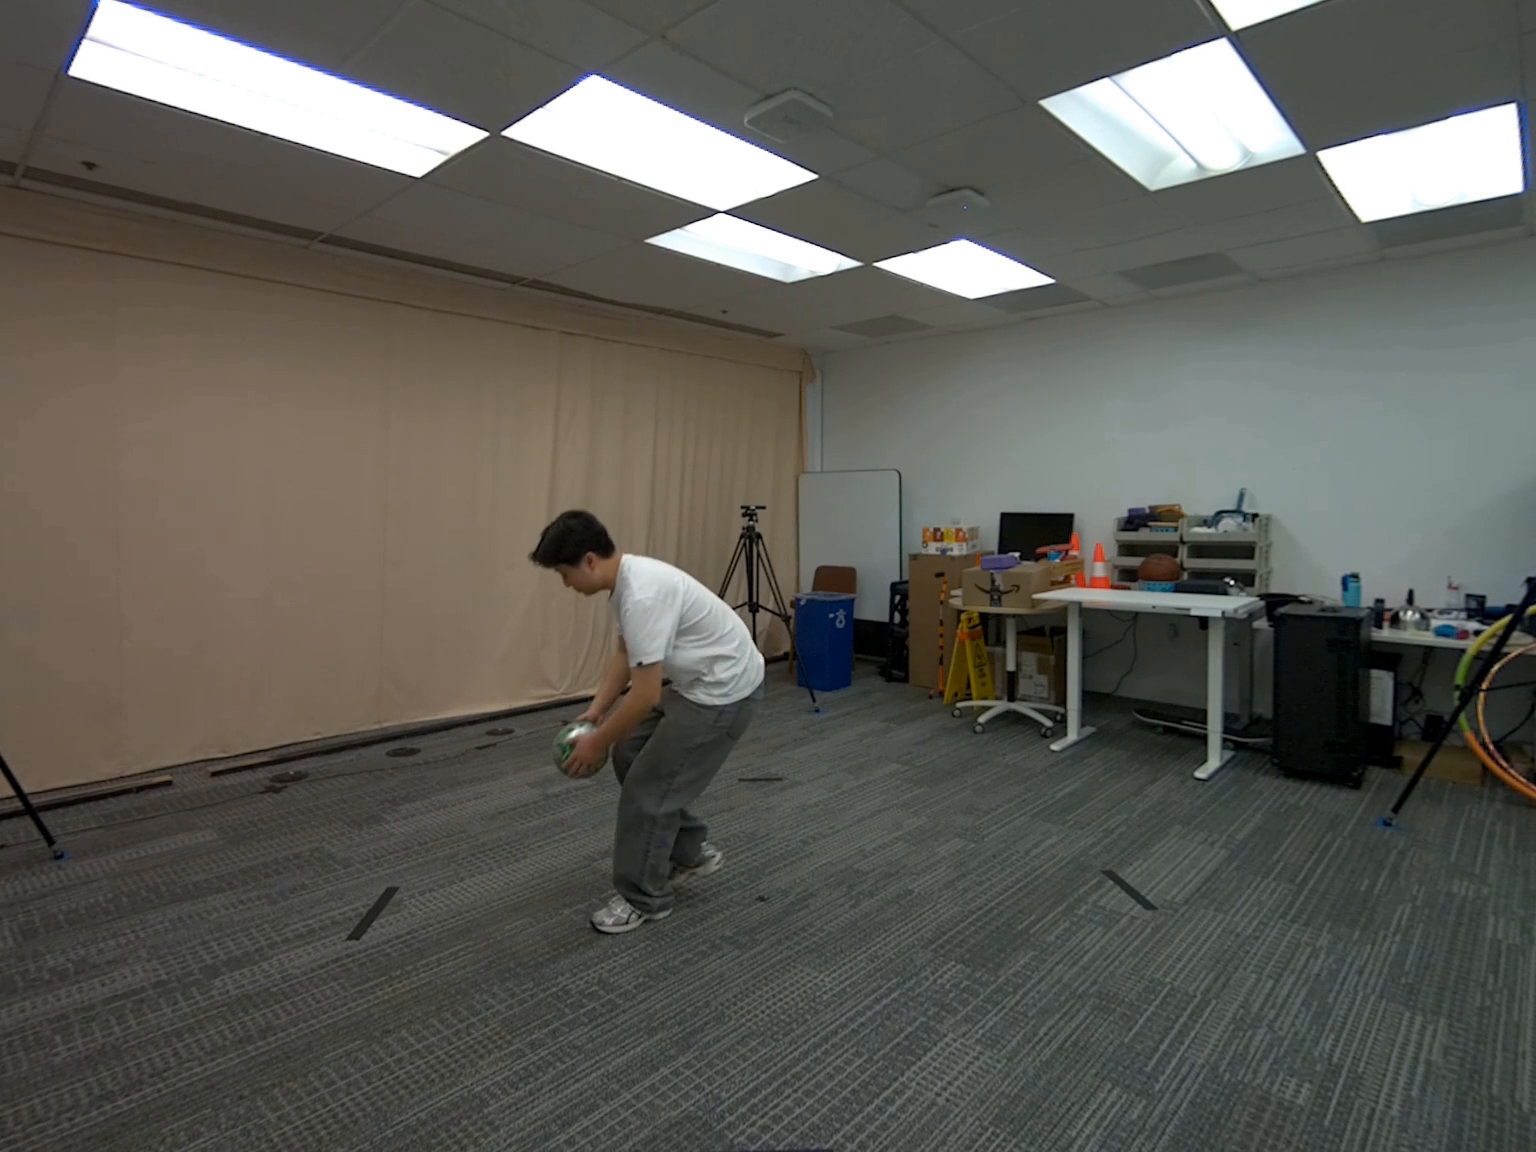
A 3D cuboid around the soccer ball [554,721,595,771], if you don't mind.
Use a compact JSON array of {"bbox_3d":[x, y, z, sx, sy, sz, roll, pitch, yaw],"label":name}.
[{"bbox_3d":[-0.608,0.585,2.797,0.187,0.187,0.188,0,4,-2],"label":"soccer ball"}]
